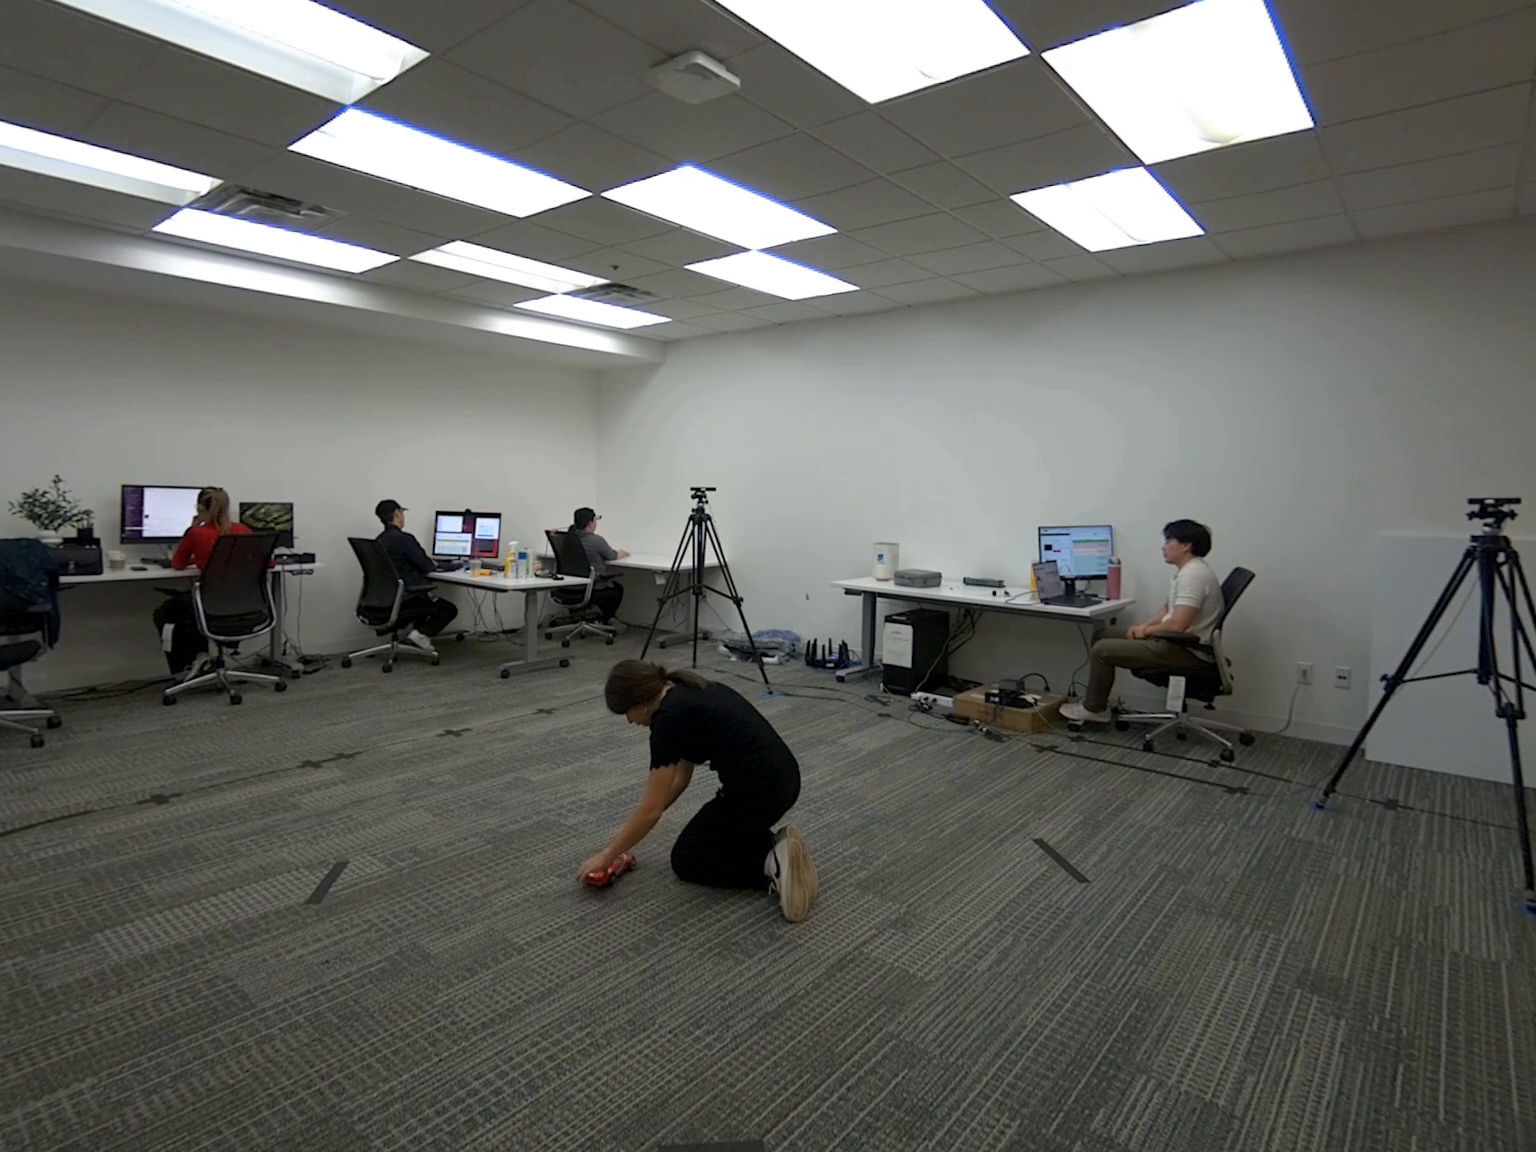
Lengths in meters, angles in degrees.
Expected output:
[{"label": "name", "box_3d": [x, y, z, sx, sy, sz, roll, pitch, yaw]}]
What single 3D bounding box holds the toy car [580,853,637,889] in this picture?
[{"label": "toy car", "box_3d": [-0.586, 1.040, 3.021, 0.133, 0.084, 0.247, 1, -7, 22]}]
